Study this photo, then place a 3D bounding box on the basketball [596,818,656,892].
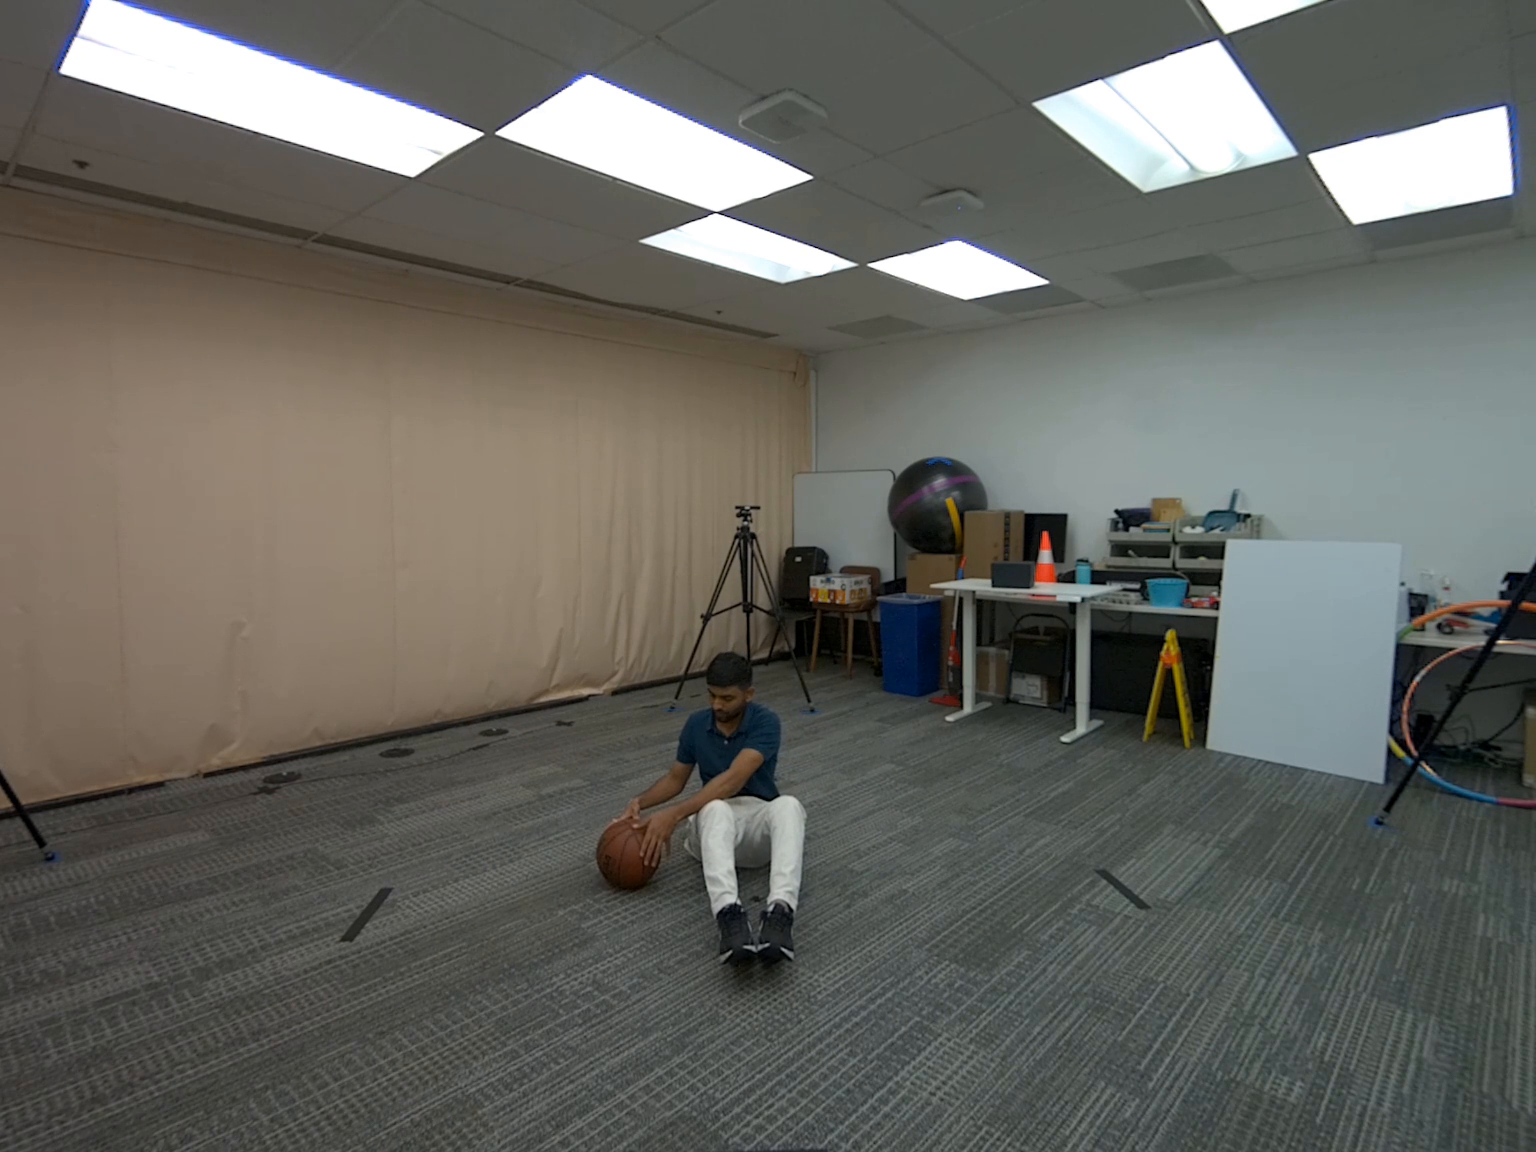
[{"bbox_3d":[-0.511,1.015,3.098,0.236,0.235,0.237,0,4,-2],"label":"basketball"}]
